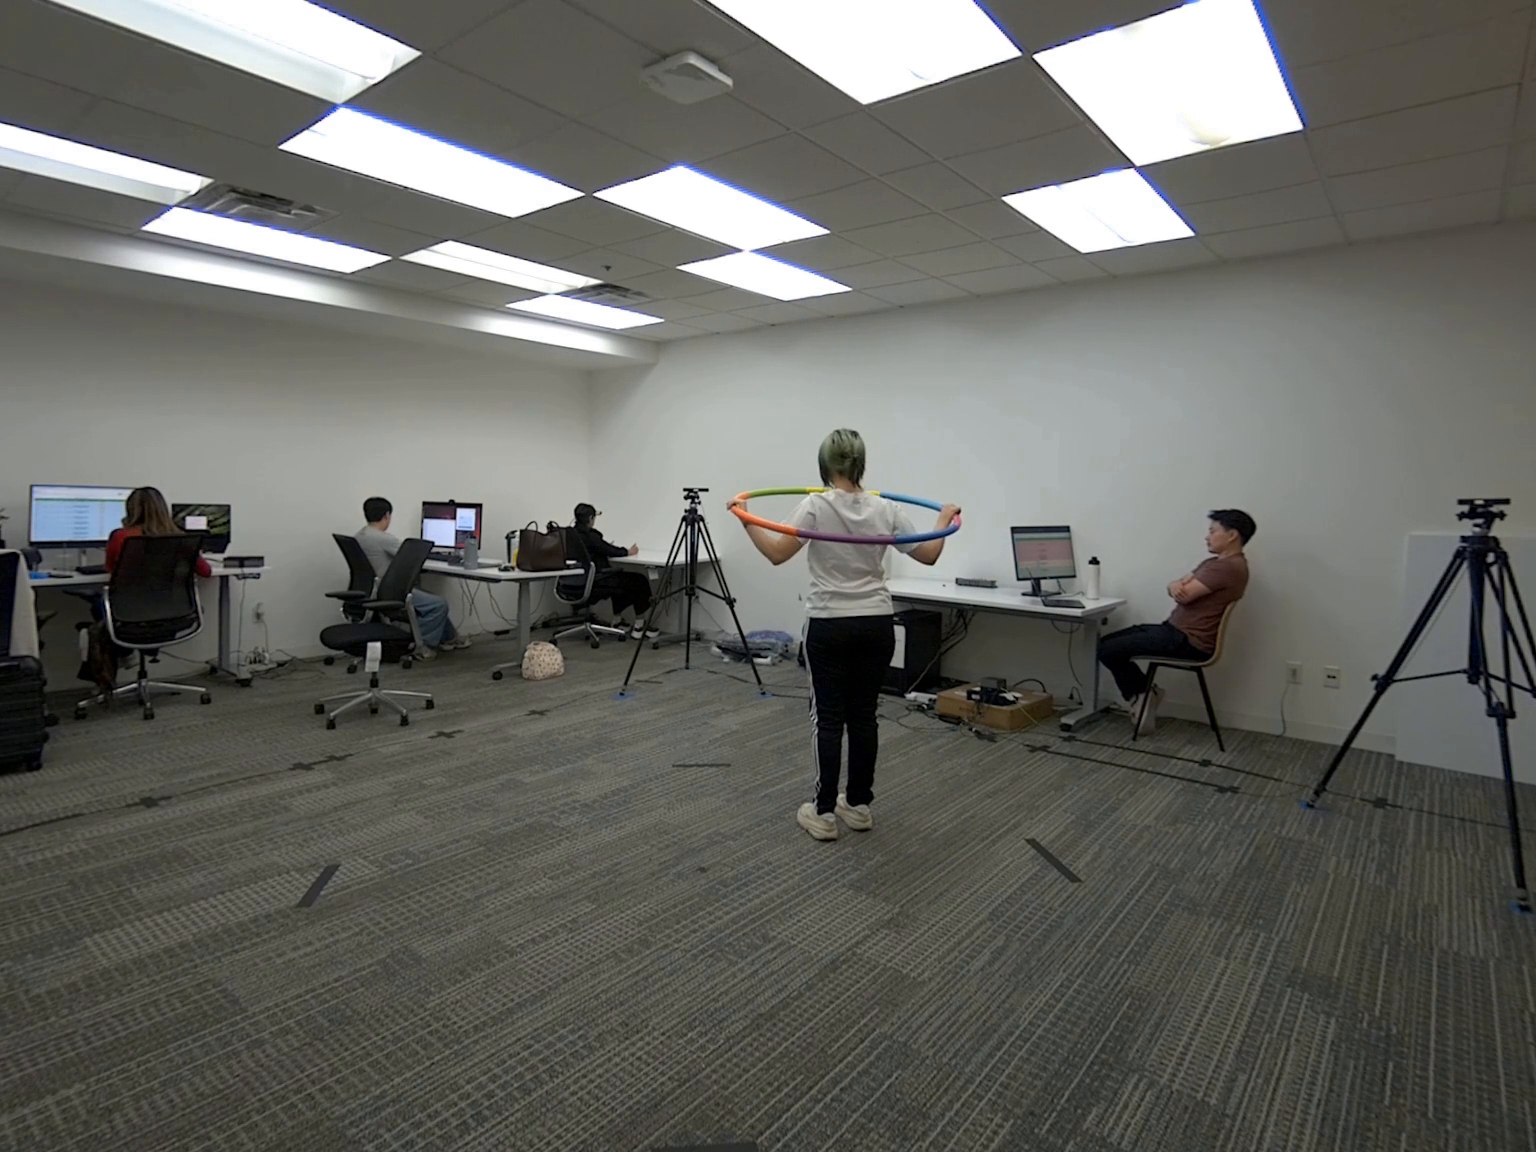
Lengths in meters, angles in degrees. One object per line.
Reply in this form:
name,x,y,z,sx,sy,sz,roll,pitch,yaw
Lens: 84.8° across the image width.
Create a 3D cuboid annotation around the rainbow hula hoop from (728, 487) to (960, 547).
rainbow hula hoop,0.330,-0.273,3.650,0.984,0.051,1.000,3,16,-2
